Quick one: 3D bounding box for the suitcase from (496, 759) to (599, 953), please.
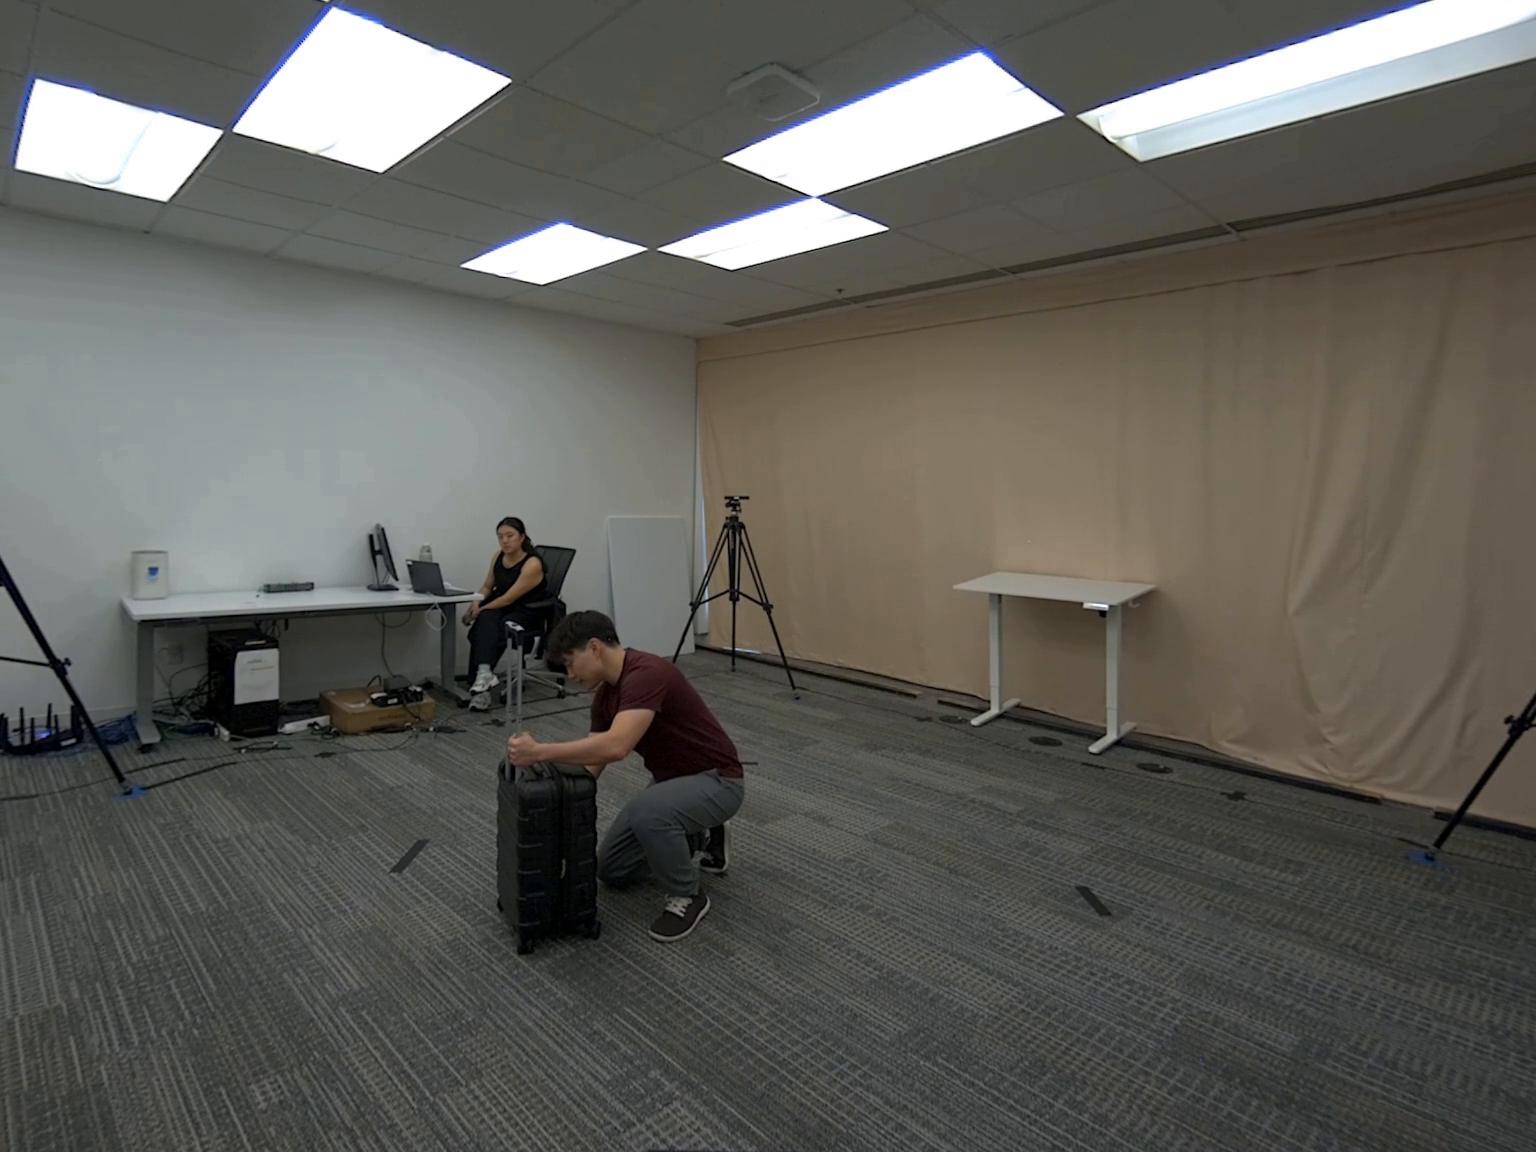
[{"bbox_3d":[-0.704,0.645,2.678,0.252,0.975,0.392,0,5,-27],"label":"suitcase"}]
